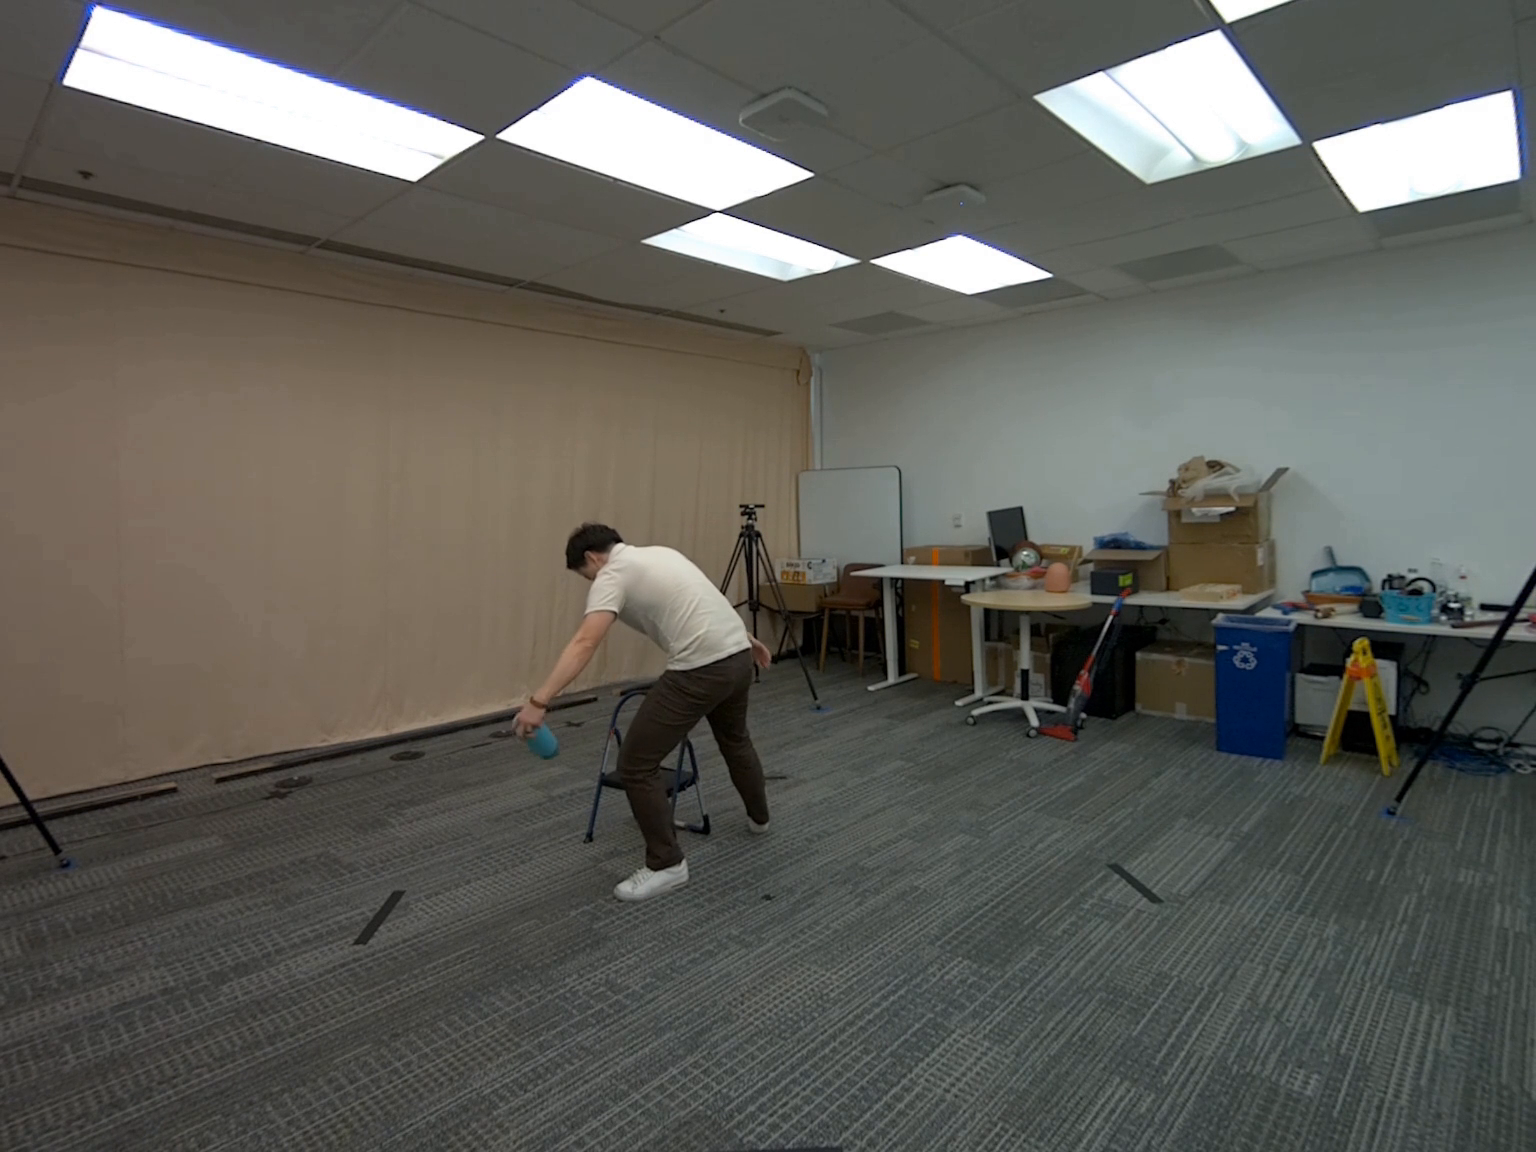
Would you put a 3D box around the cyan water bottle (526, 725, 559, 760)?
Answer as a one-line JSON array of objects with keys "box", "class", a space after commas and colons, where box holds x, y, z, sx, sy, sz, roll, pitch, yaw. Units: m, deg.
[{"box": [-0.785, 0.572, 2.933, 0.093, 0.094, 0.278, 0, -27, 2], "class": "cyan water bottle"}]
